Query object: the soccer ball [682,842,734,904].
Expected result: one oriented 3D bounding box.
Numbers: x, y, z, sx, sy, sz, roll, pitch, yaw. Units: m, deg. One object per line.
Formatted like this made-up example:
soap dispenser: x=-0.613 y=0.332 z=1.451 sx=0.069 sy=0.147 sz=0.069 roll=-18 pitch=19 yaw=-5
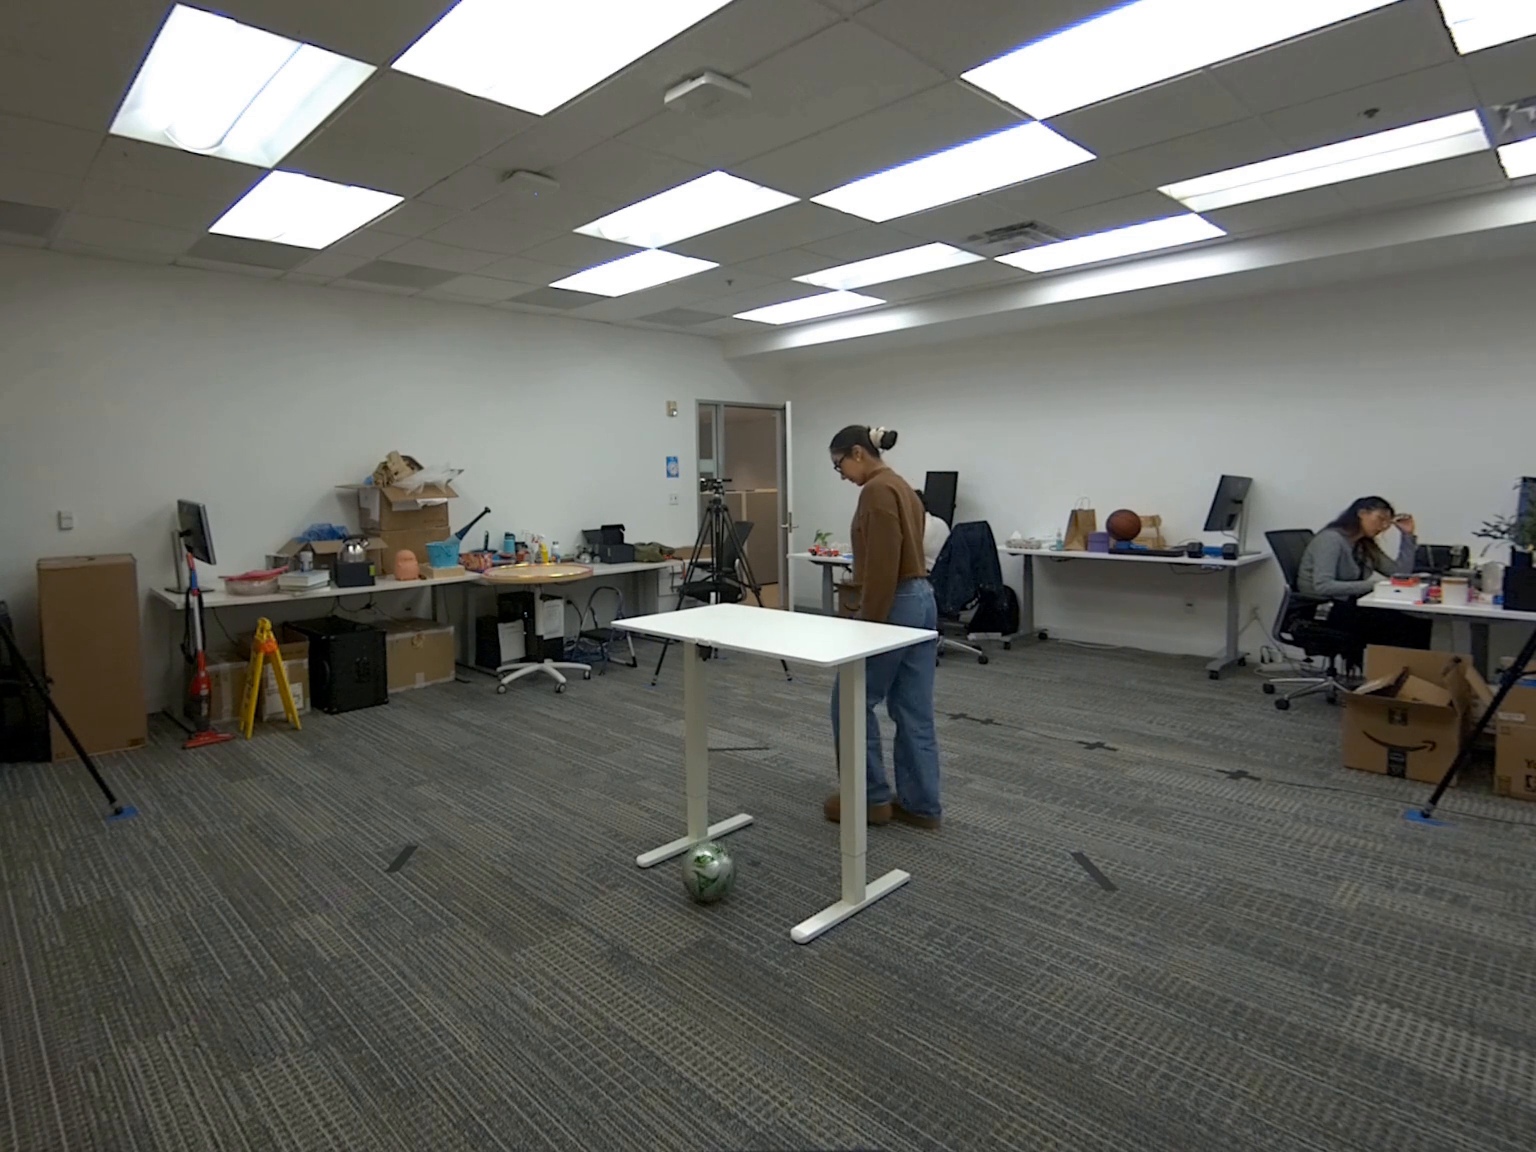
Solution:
soccer ball: x=-0.194 y=0.984 z=2.846 sx=0.187 sy=0.187 sz=0.188 roll=-1 pitch=5 yaw=-2
